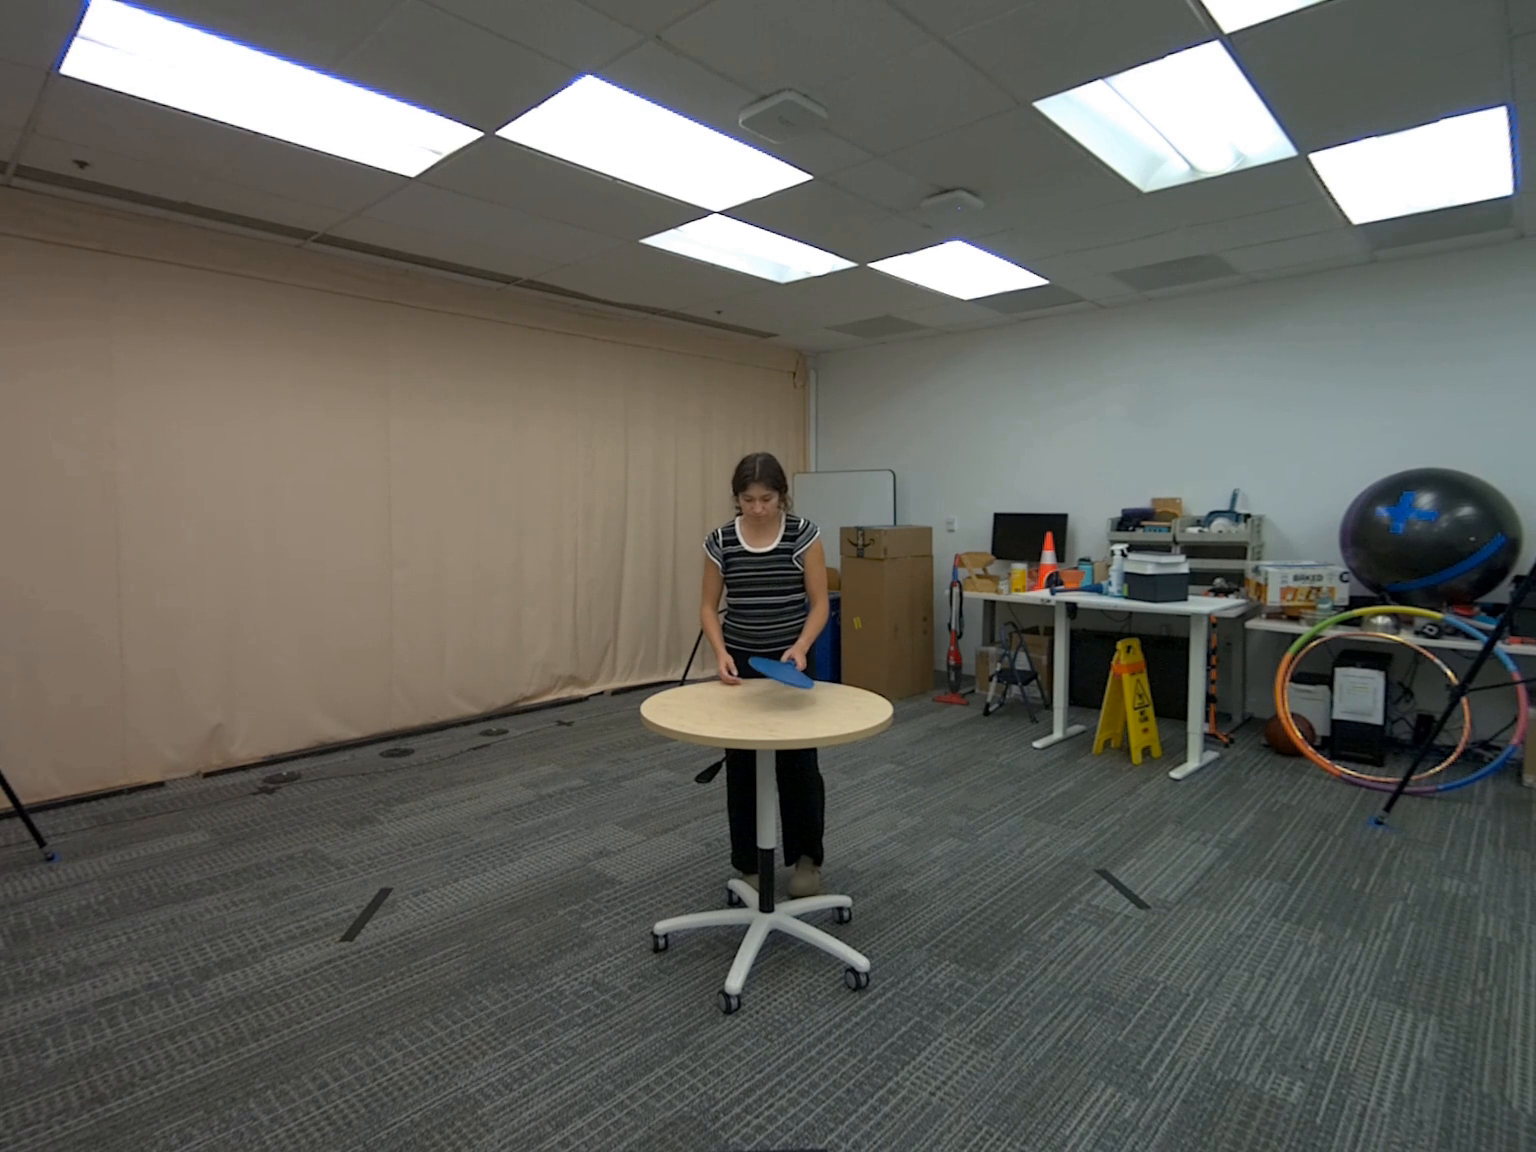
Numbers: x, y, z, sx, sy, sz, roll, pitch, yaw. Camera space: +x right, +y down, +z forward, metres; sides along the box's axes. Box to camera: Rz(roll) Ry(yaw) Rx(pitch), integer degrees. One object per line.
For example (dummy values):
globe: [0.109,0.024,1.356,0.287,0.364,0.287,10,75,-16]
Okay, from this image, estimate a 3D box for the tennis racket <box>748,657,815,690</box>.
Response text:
tennis racket: [0.037,0.303,2.665,0.214,0.032,0.432,16,1,0]
